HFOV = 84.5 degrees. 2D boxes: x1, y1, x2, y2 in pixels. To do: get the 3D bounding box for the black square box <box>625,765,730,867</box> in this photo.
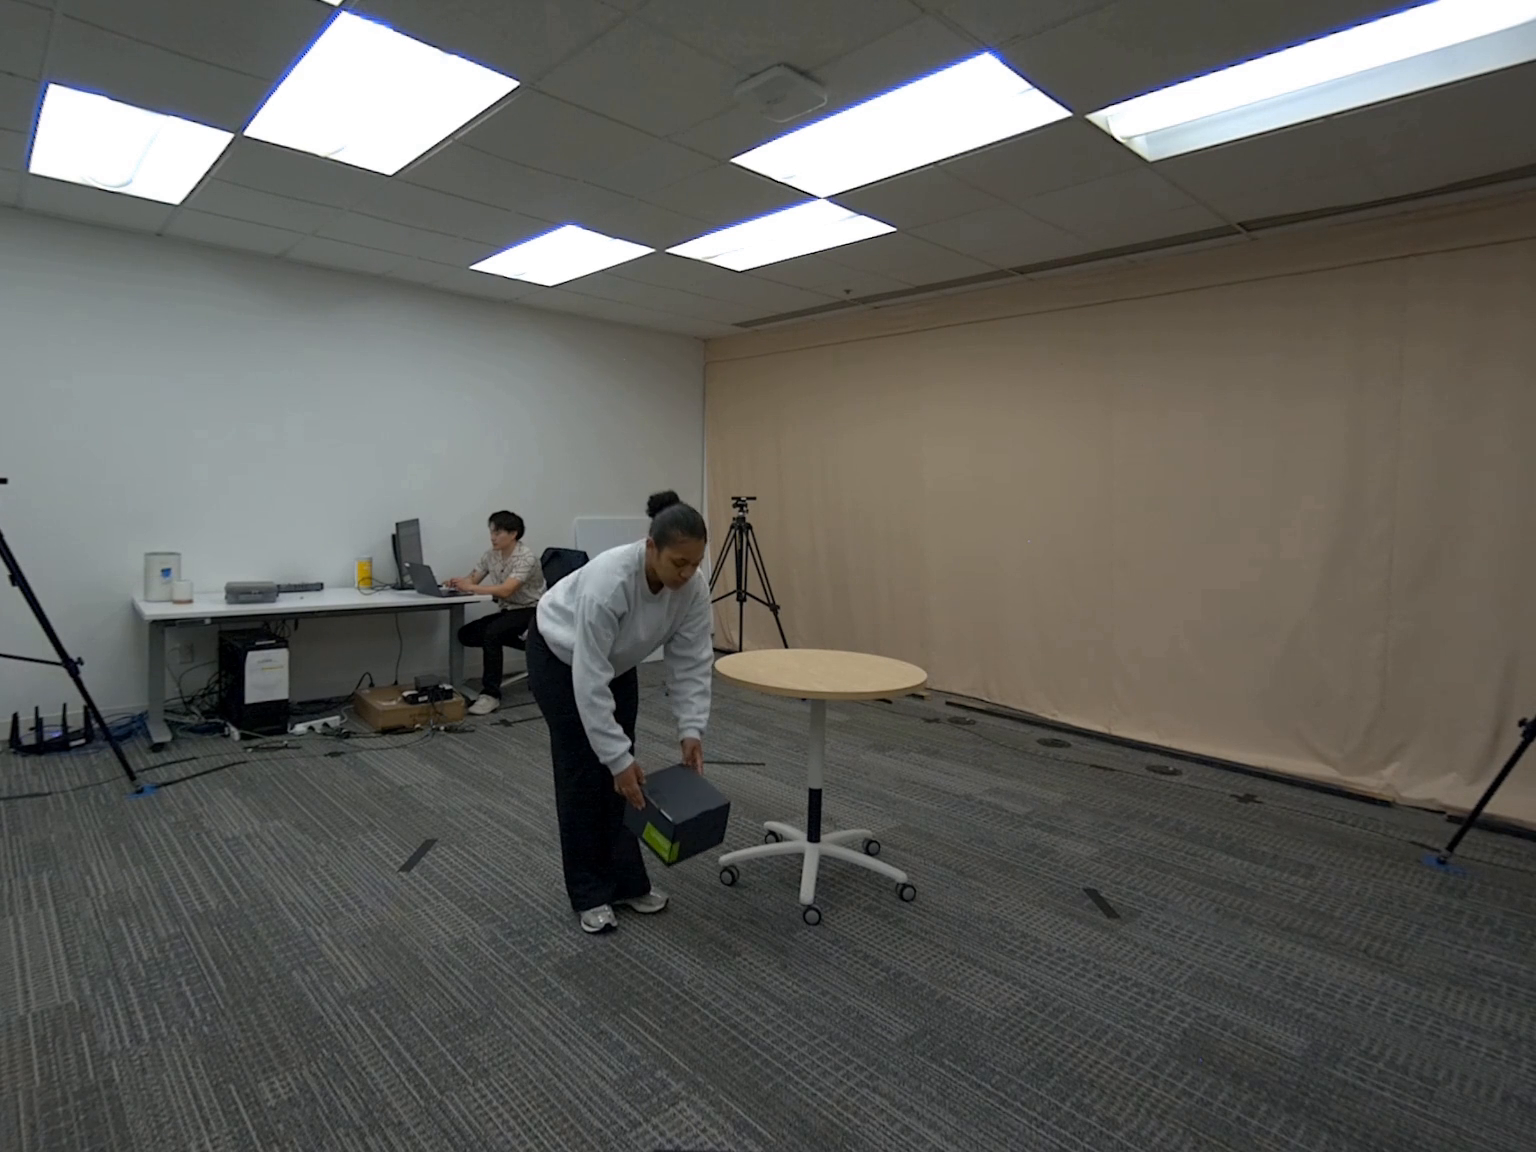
[{"bbox_3d":[-0.284,0.716,2.520,0.212,0.154,0.235,-9,29,-44],"label":"black square box"}]
